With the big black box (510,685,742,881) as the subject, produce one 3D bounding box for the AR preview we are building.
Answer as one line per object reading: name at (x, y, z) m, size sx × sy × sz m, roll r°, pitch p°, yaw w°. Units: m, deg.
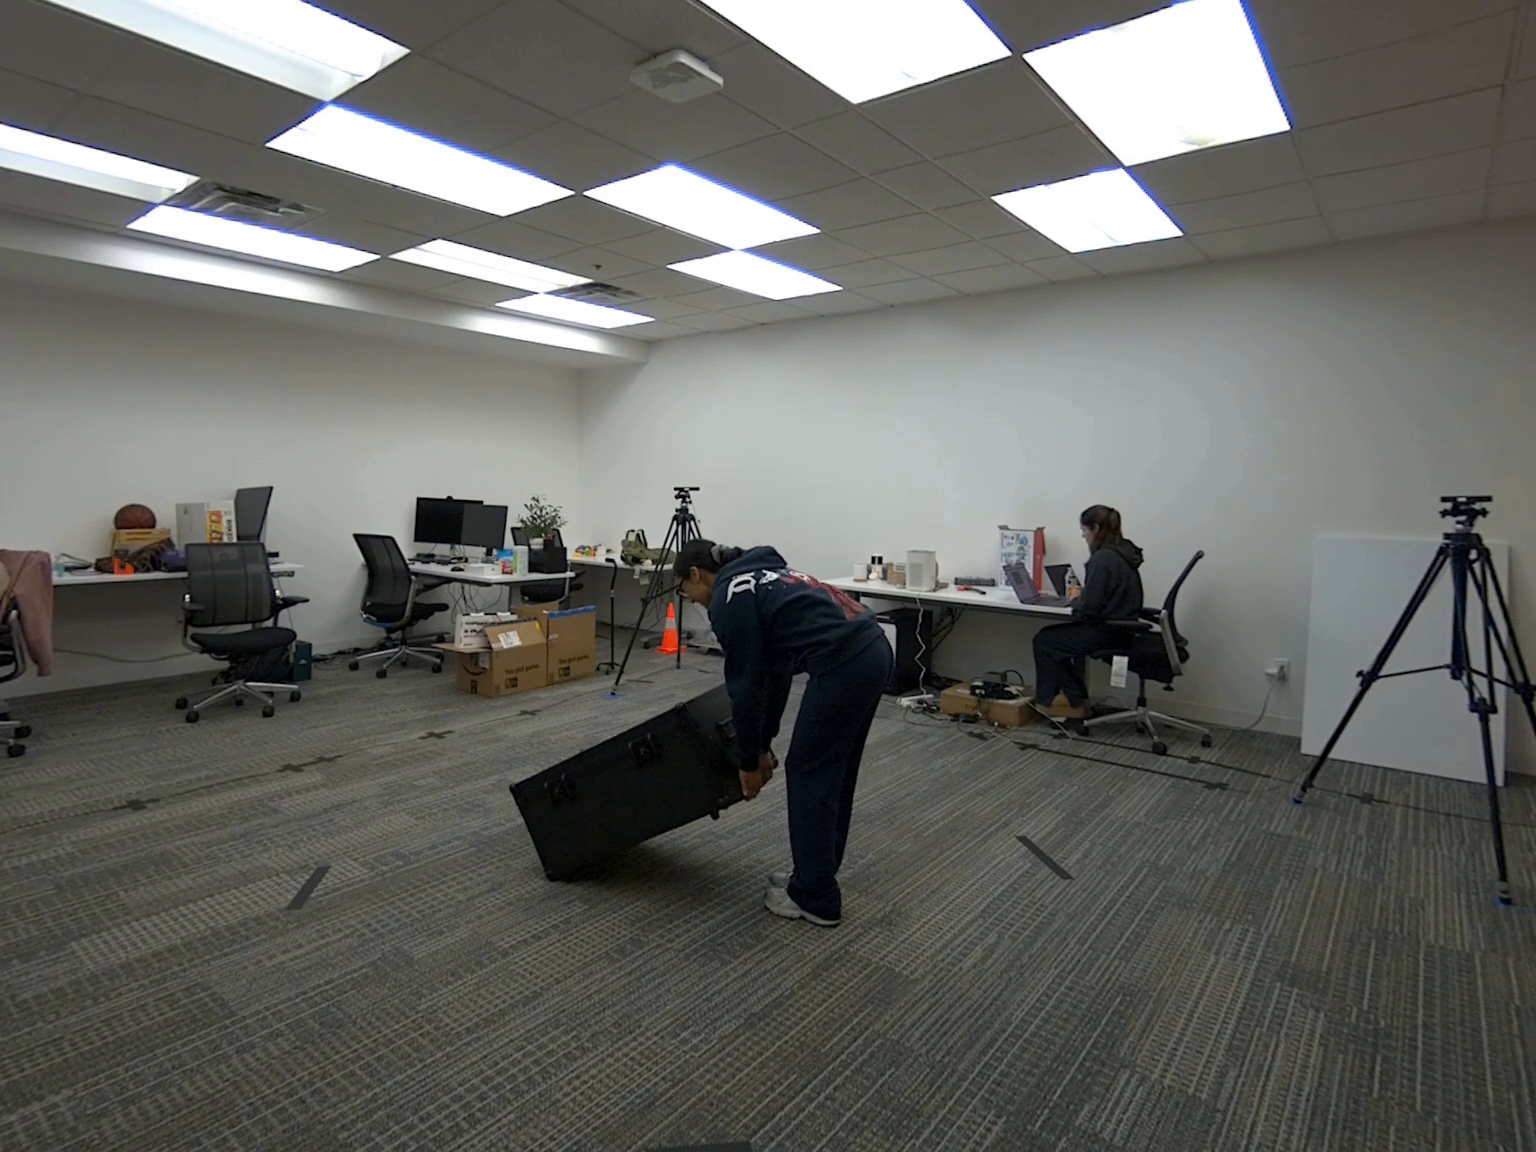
big black box at (-0.478, 0.746, 3.106) m, size 0.870 × 0.400 × 0.511 m, roll -27°, pitch -6°, yaw 21°
